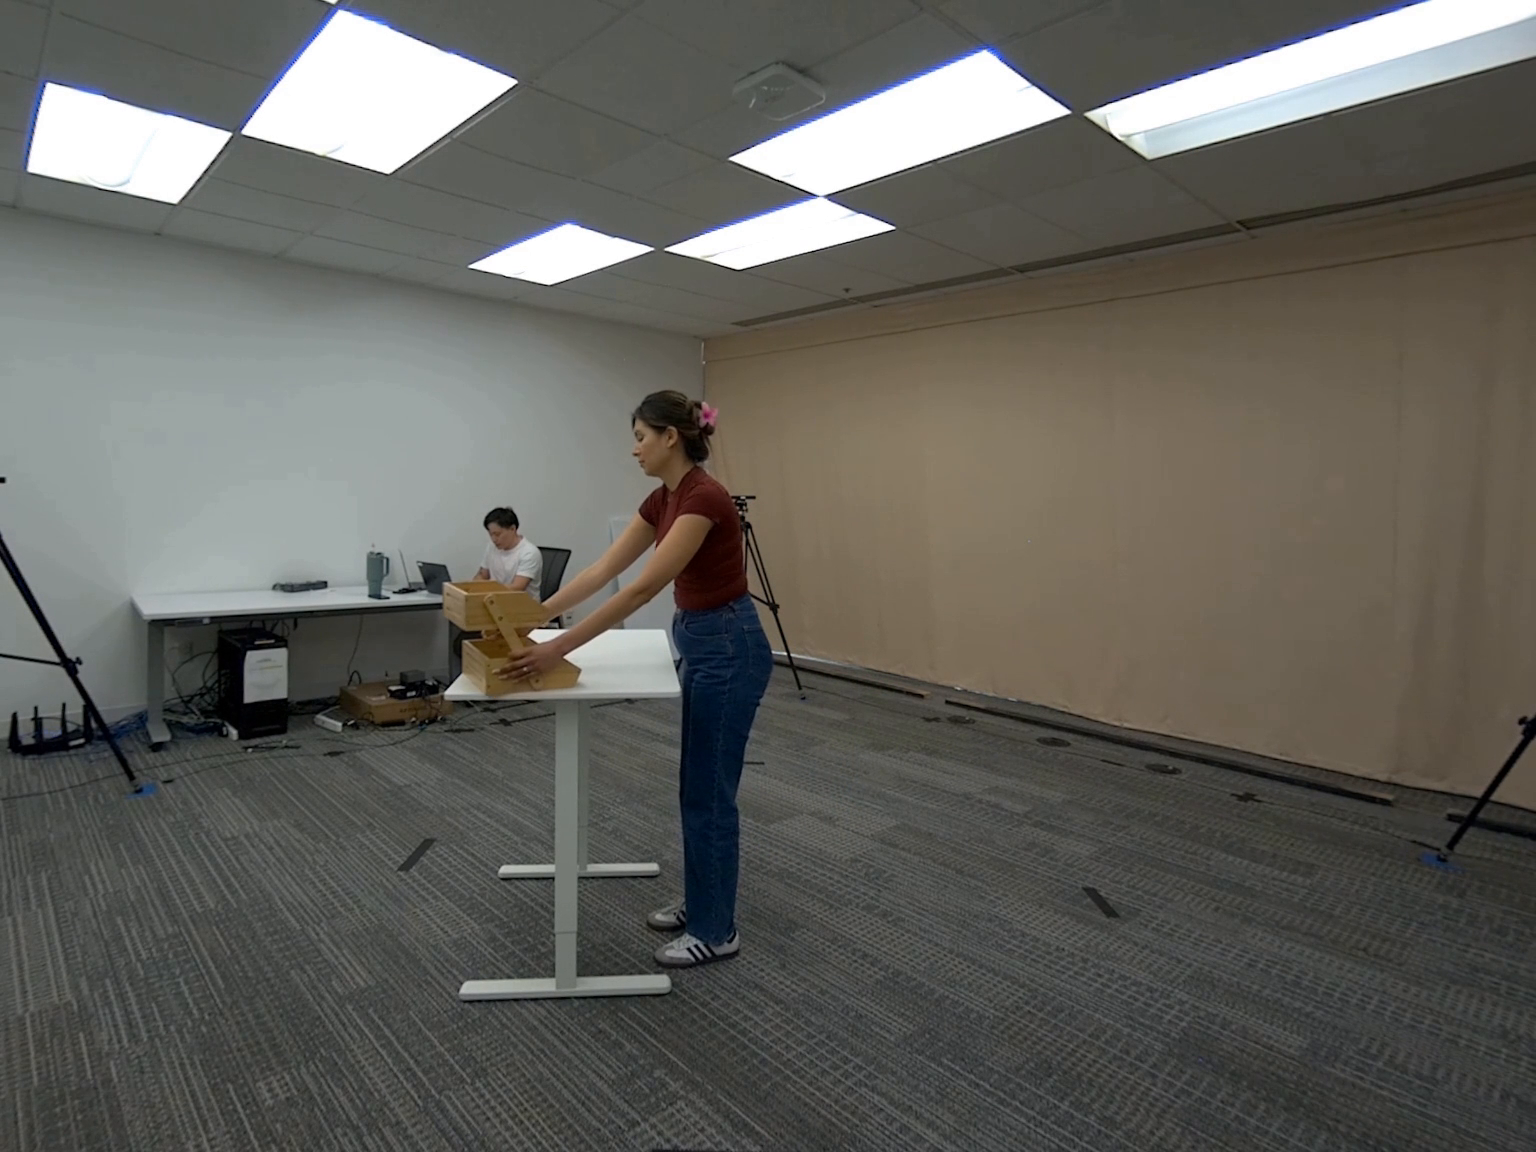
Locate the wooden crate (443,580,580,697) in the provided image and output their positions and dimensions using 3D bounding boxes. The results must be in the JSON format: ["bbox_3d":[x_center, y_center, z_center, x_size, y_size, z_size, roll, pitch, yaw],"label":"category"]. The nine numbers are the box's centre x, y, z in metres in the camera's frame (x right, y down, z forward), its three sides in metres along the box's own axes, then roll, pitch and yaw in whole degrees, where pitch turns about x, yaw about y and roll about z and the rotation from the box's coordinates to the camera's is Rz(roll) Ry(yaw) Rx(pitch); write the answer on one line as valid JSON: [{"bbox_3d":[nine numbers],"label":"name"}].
[{"bbox_3d":[-0.705,0.156,2.278,0.296,0.272,0.332,-3,5,-30],"label":"wooden crate"}]
